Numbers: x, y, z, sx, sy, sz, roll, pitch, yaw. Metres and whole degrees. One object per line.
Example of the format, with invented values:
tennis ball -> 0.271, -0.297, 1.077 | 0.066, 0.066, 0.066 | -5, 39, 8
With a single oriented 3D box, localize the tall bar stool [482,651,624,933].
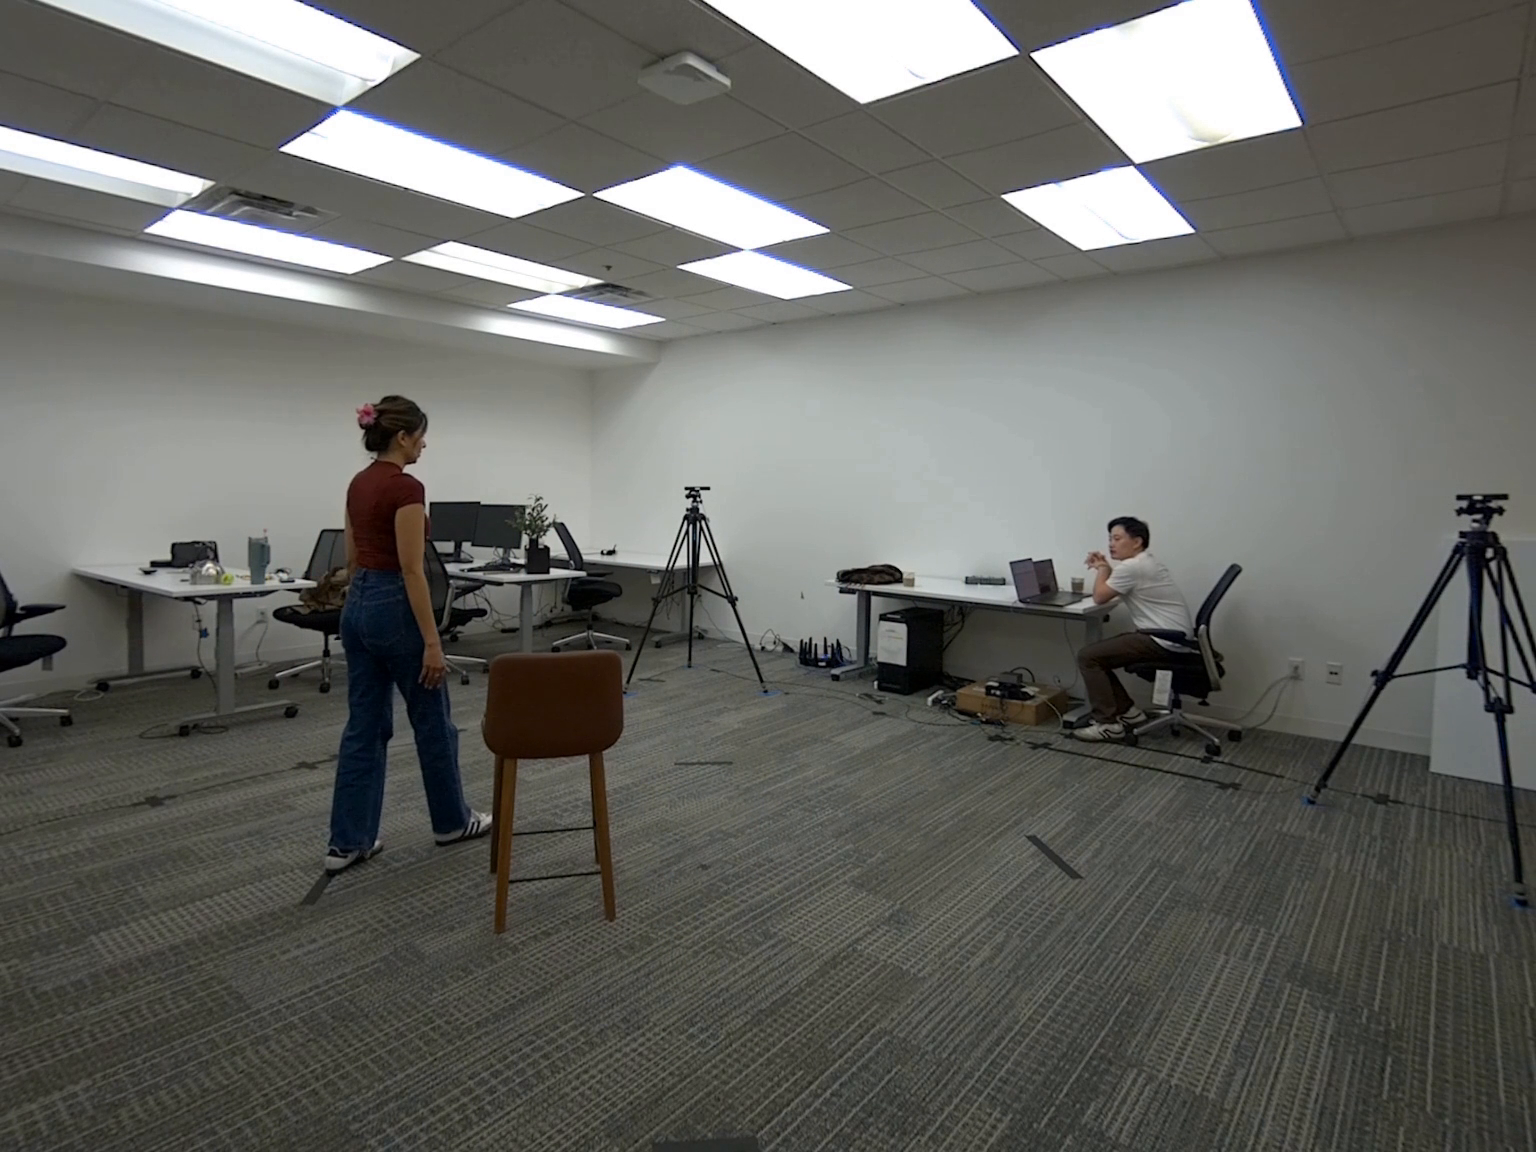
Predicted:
tall bar stool -> -0.742, 0.652, 2.862 | 0.449, 0.886, 0.478 | -1, 5, -17
